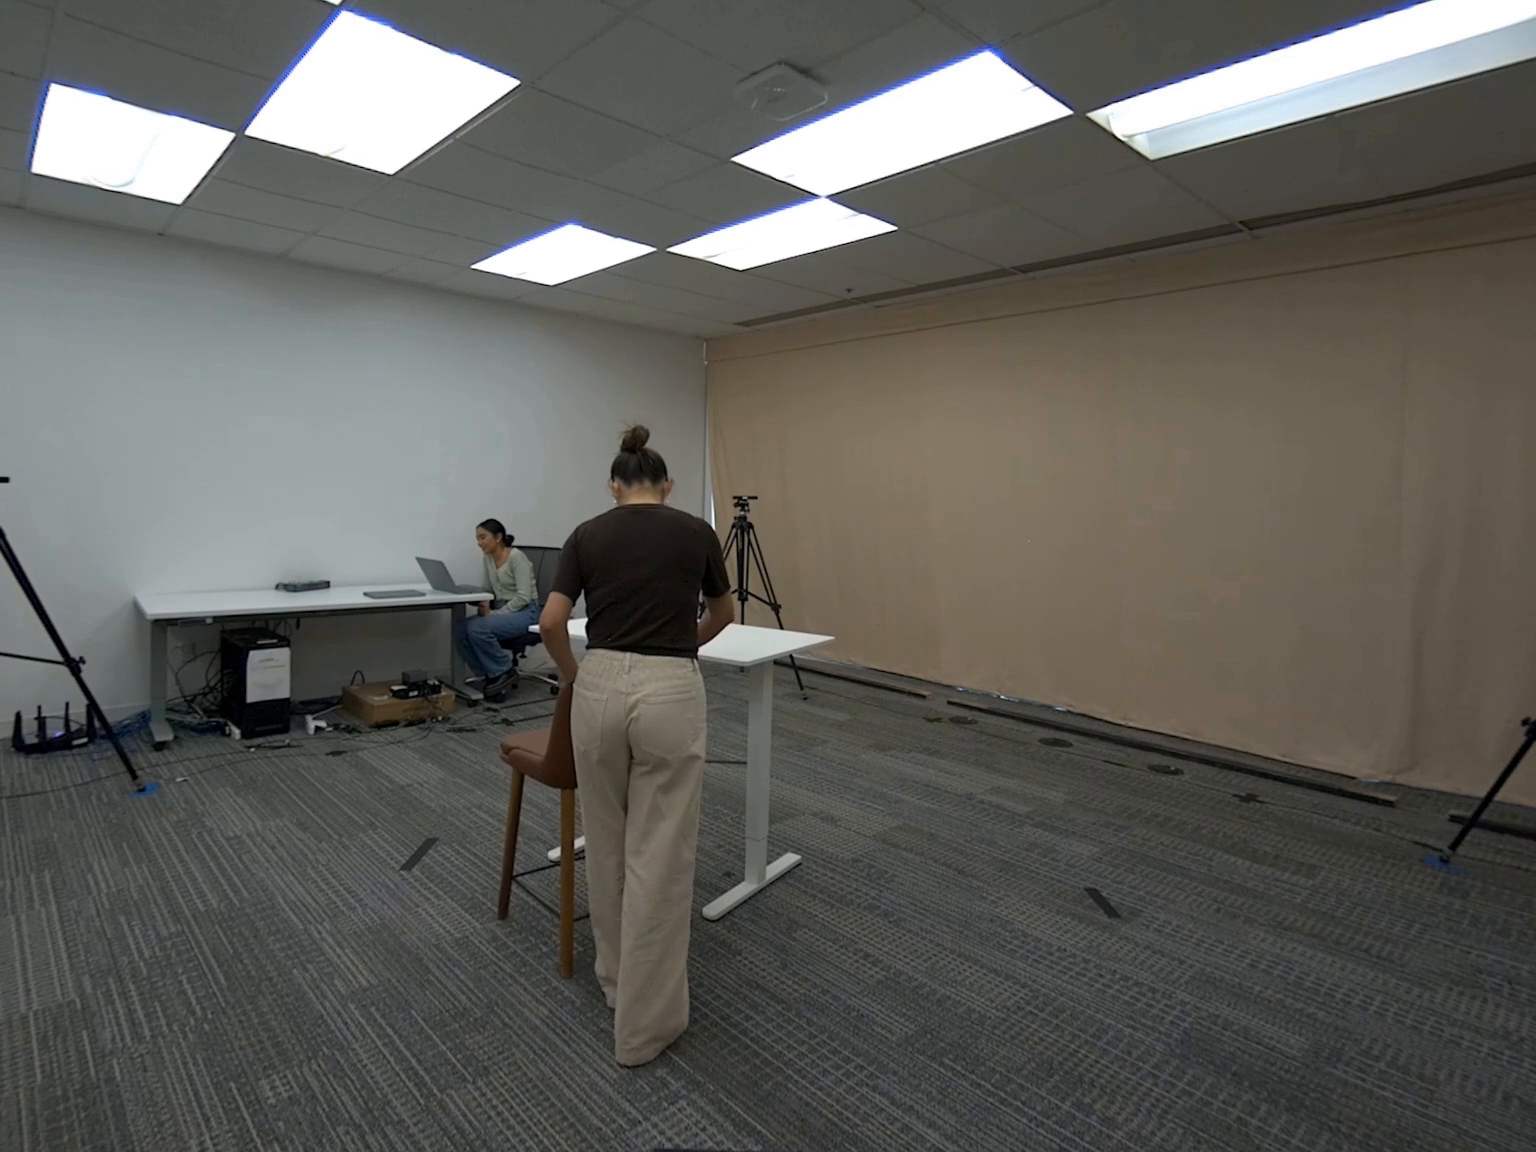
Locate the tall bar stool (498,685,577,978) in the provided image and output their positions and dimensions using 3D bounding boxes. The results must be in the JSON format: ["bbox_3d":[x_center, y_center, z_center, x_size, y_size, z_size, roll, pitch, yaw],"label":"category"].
[{"bbox_3d":[-0.575,0.699,2.665,0.446,0.886,0.480,-2,7,-40],"label":"tall bar stool"}]
